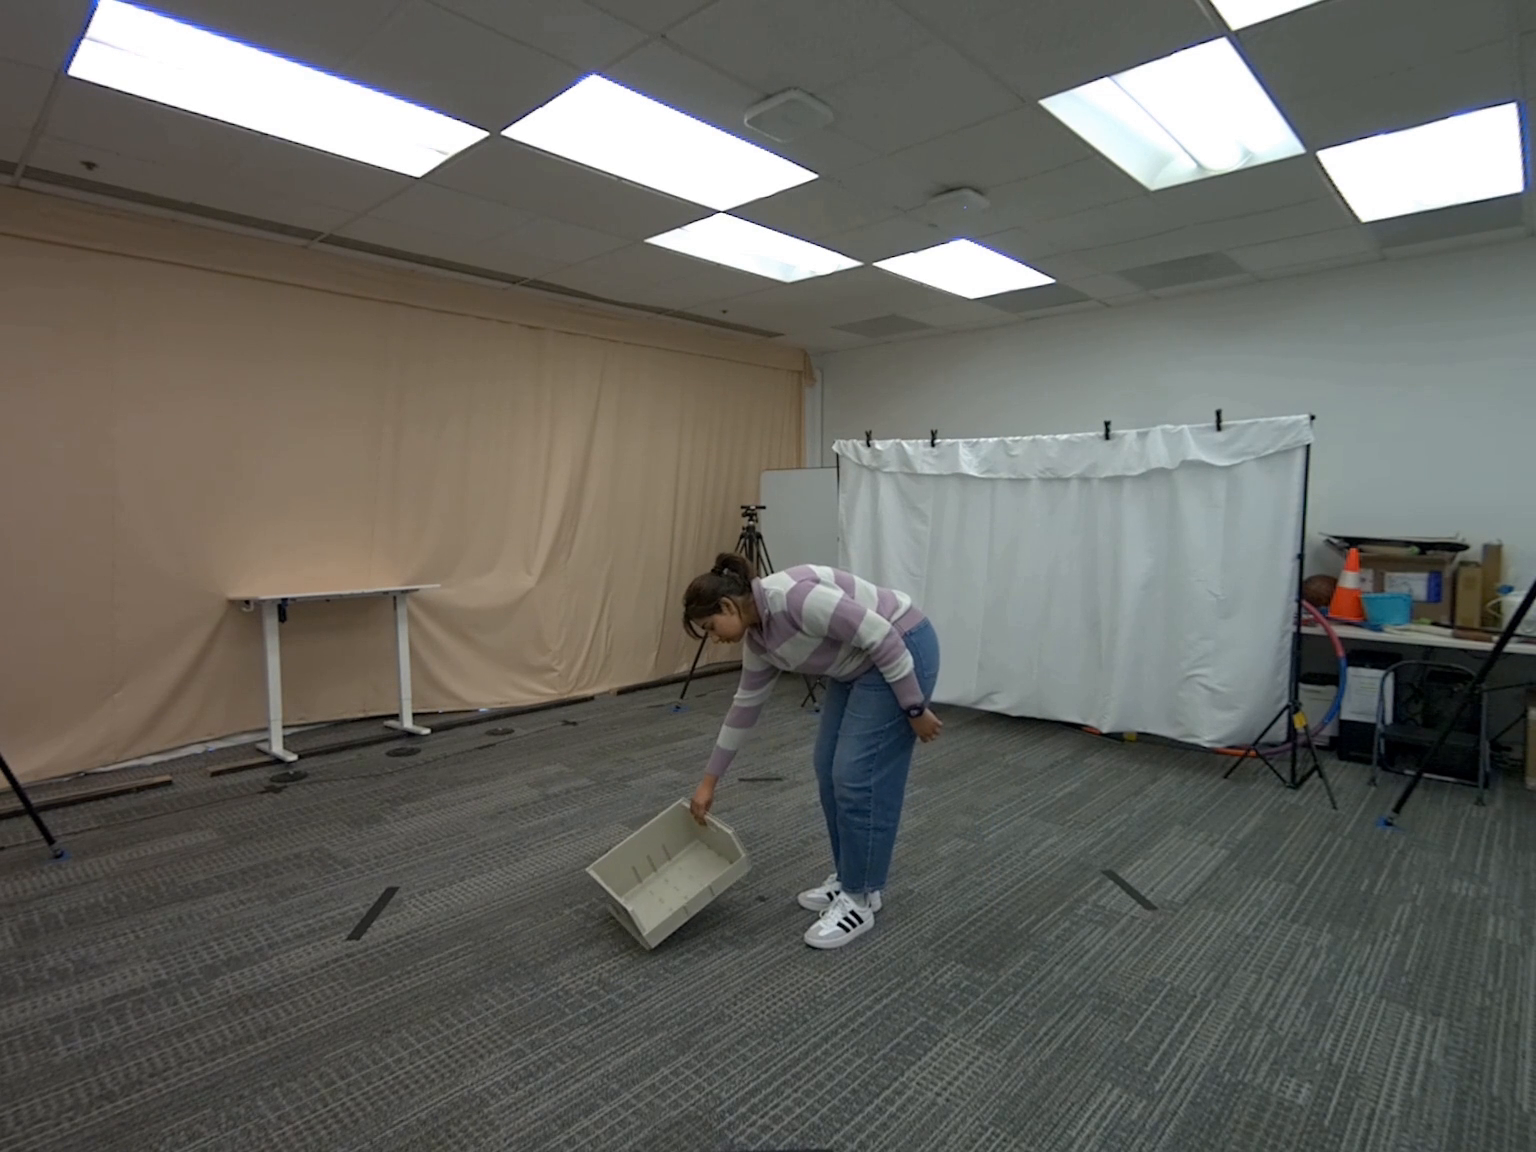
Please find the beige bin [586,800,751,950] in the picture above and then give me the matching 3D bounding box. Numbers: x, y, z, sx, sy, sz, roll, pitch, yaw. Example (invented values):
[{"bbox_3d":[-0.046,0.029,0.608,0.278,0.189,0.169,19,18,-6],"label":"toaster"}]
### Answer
[{"bbox_3d":[-0.327,0.992,2.822,0.416,0.186,0.388,-30,18,-25],"label":"beige bin"}]
